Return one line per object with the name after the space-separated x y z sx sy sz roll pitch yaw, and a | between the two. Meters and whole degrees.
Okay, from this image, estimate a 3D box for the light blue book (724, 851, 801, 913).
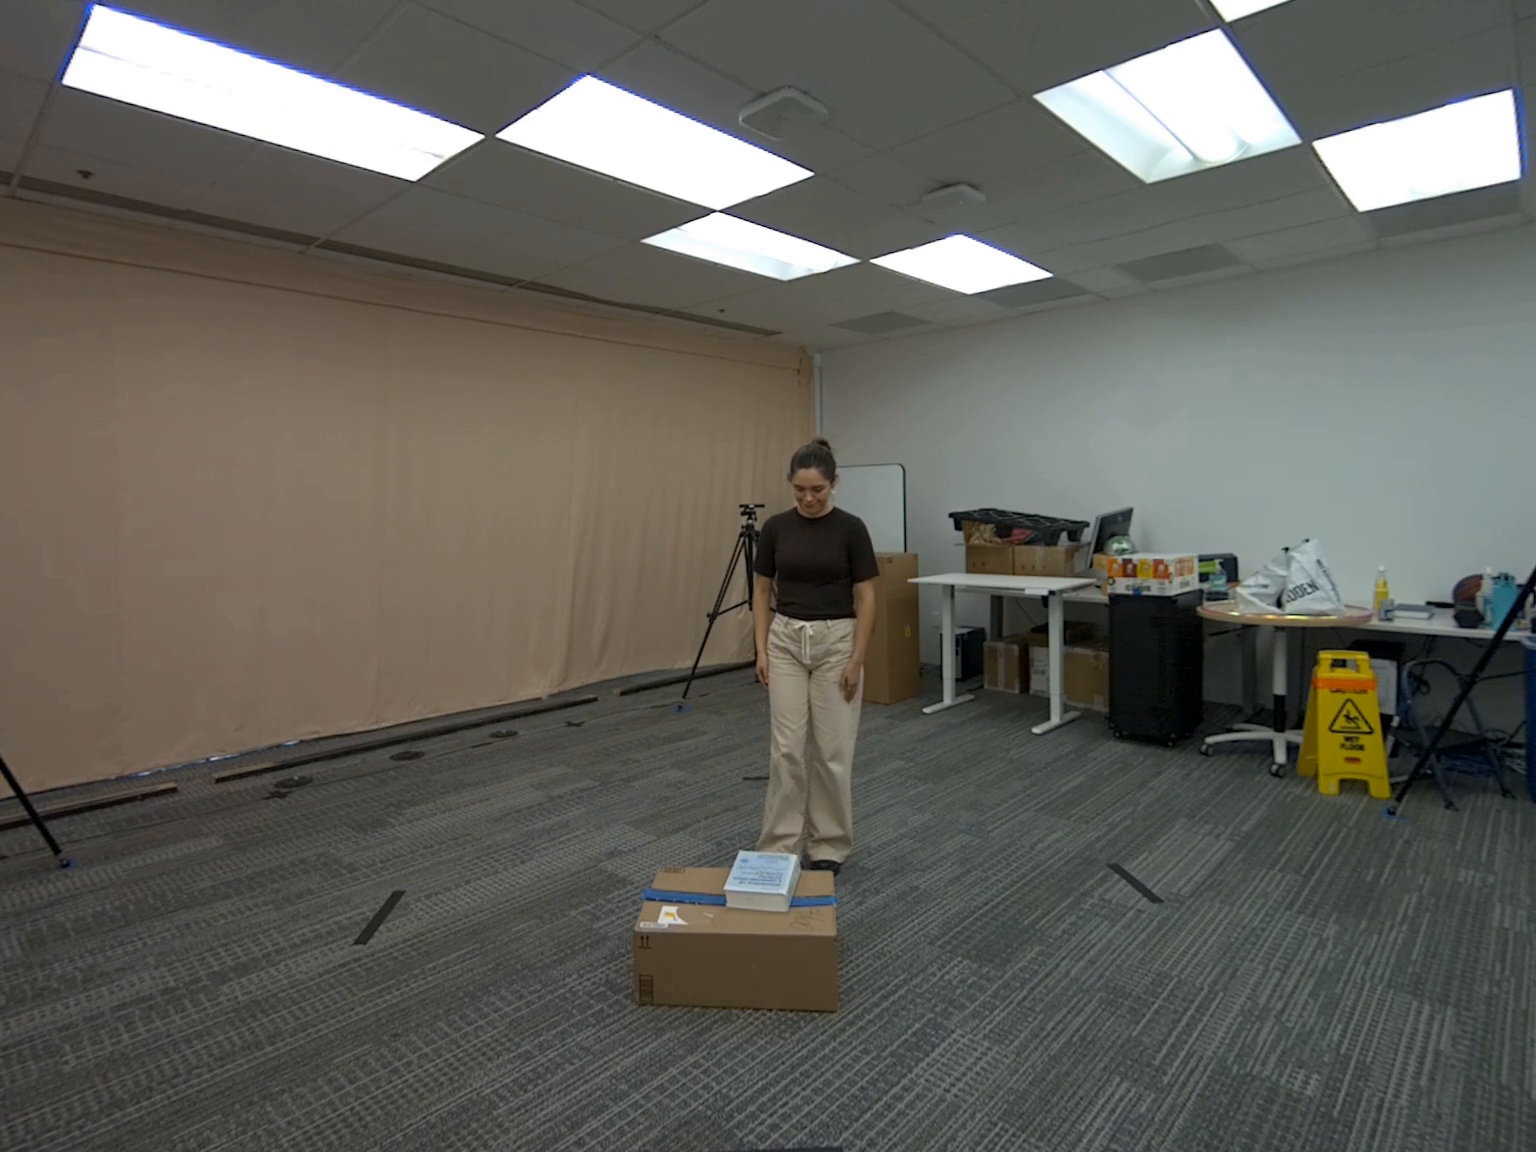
-0.017 0.932 2.583 0.194 0.059 0.258 -1 6 11 | light blue book
